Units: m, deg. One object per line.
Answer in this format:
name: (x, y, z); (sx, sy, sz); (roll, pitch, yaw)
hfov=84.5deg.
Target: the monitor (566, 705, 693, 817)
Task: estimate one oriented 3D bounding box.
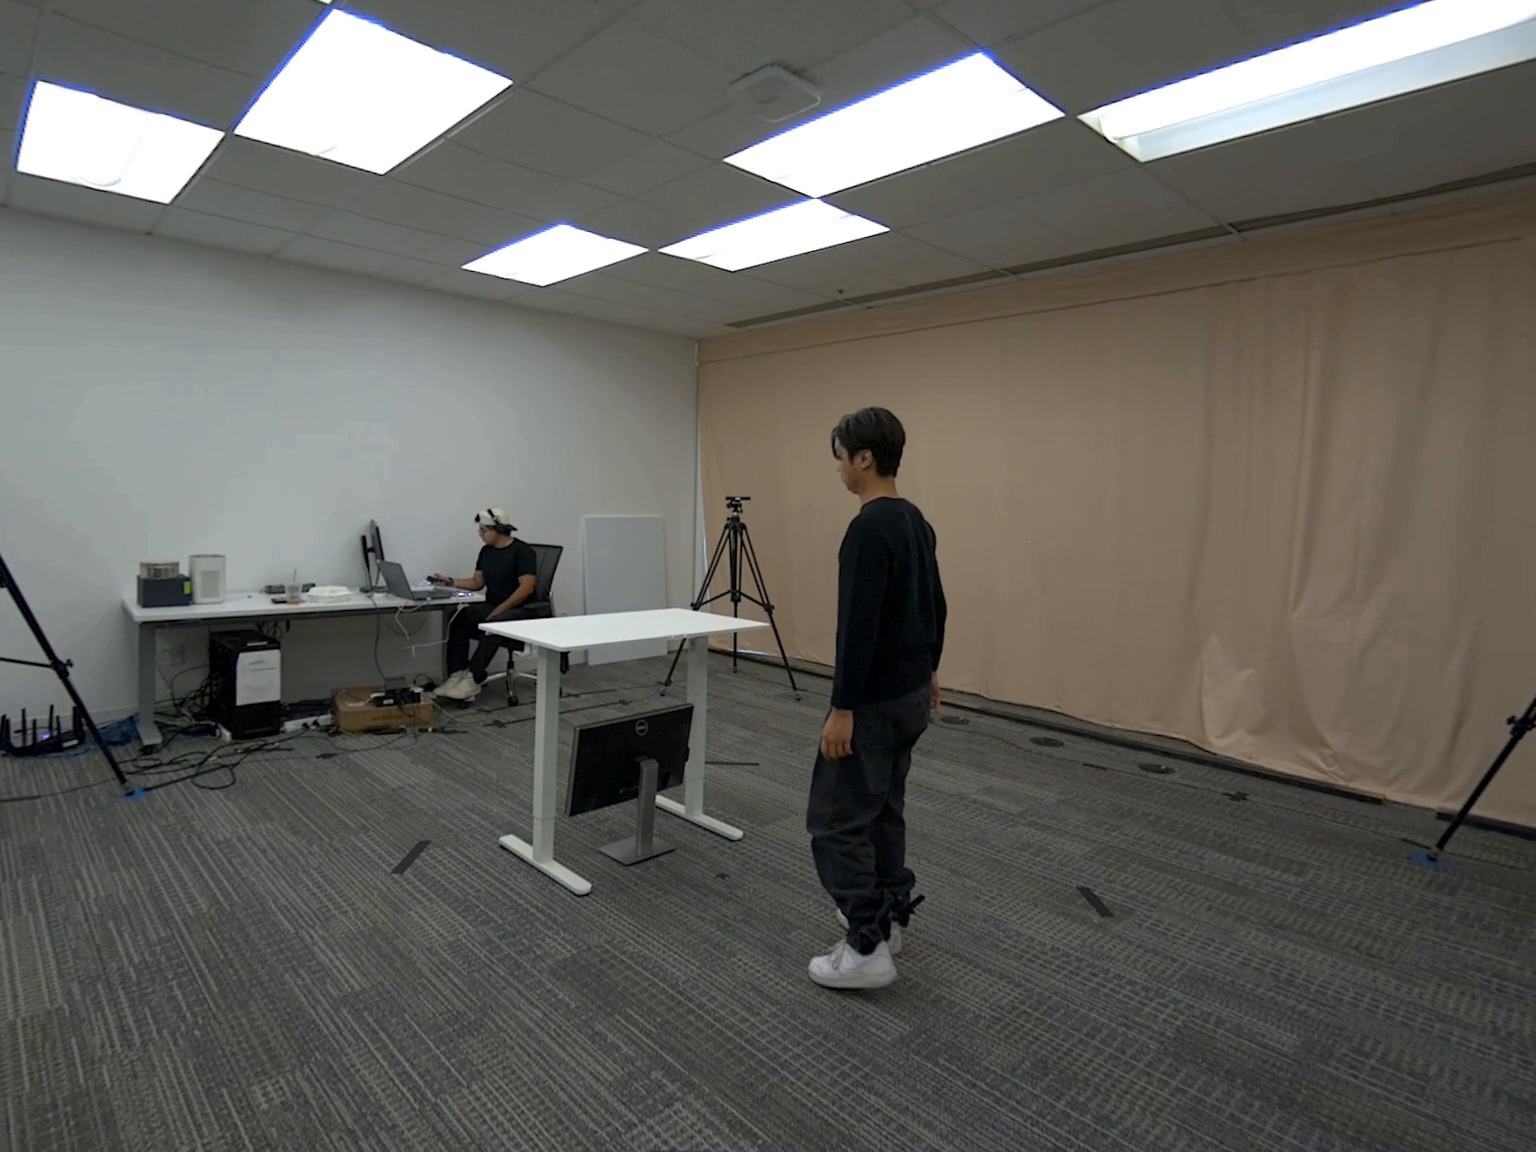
monitor: (-0.521, 0.806, 3.298); (0.518, 0.516, 0.178); (-4, -1, -44)
